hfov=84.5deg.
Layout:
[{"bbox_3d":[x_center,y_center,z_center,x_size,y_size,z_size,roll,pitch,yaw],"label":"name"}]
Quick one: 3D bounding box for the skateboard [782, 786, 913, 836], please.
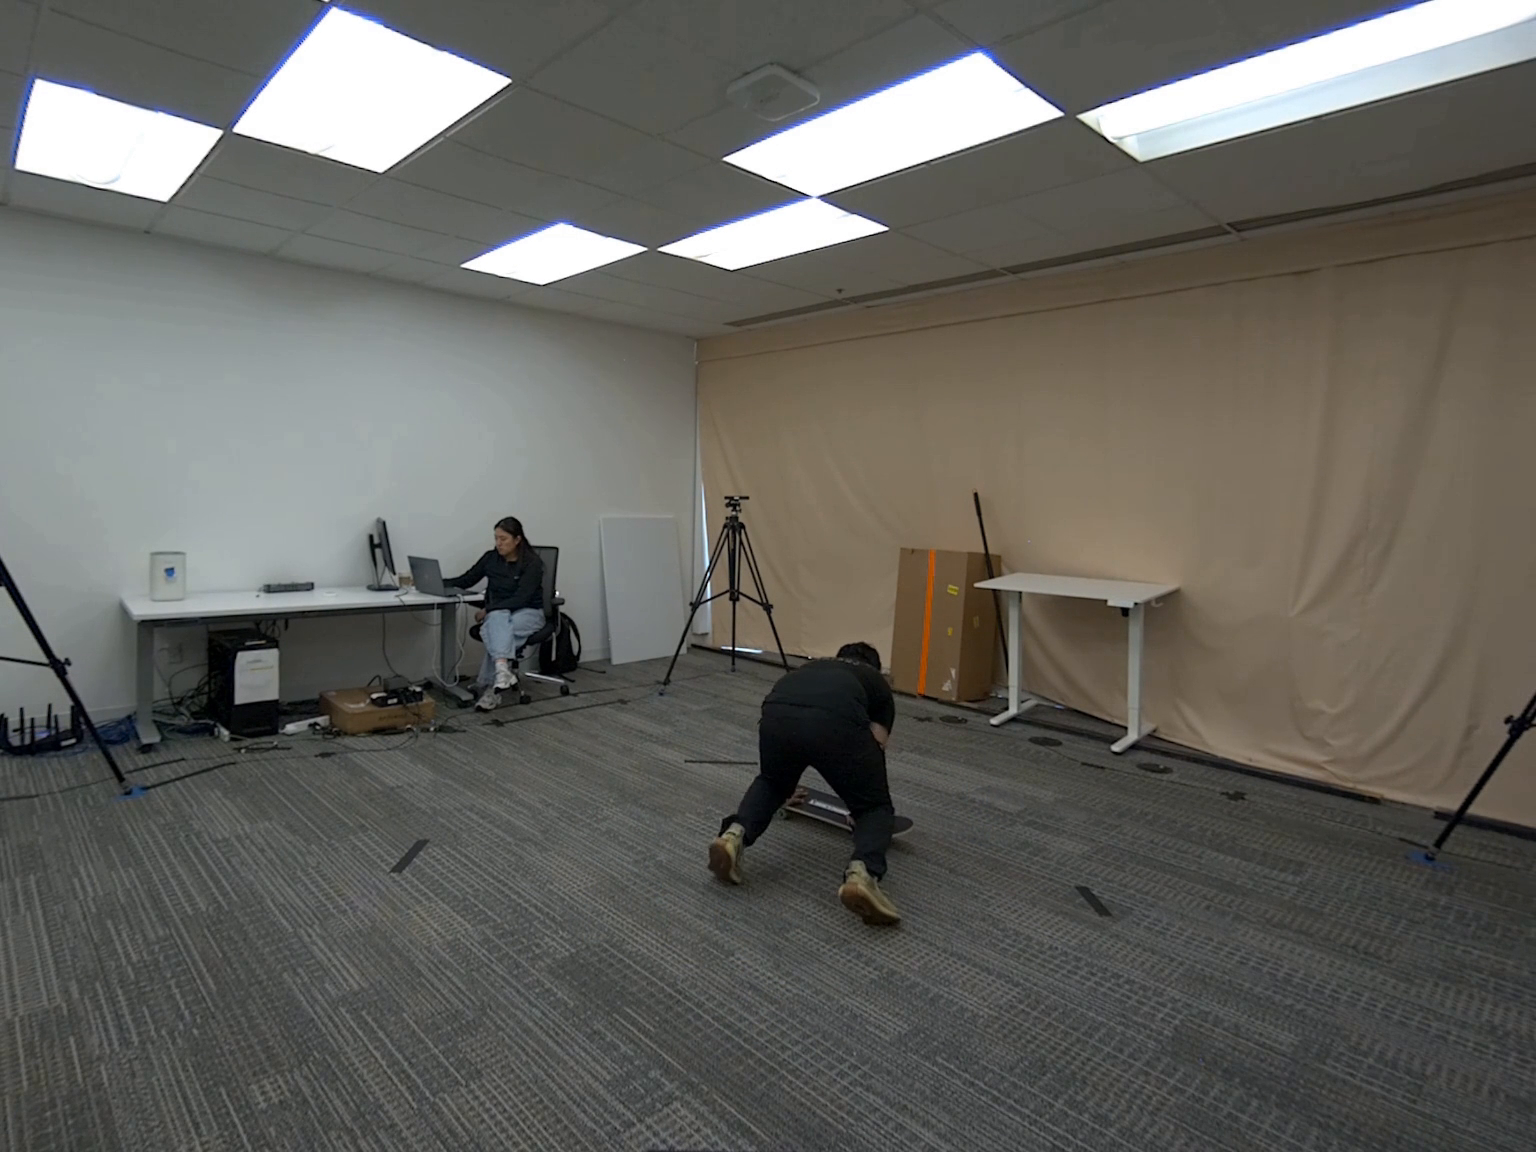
[{"bbox_3d":[0.257,1.016,3.596,0.805,0.109,0.190,6,14,41],"label":"skateboard"}]
